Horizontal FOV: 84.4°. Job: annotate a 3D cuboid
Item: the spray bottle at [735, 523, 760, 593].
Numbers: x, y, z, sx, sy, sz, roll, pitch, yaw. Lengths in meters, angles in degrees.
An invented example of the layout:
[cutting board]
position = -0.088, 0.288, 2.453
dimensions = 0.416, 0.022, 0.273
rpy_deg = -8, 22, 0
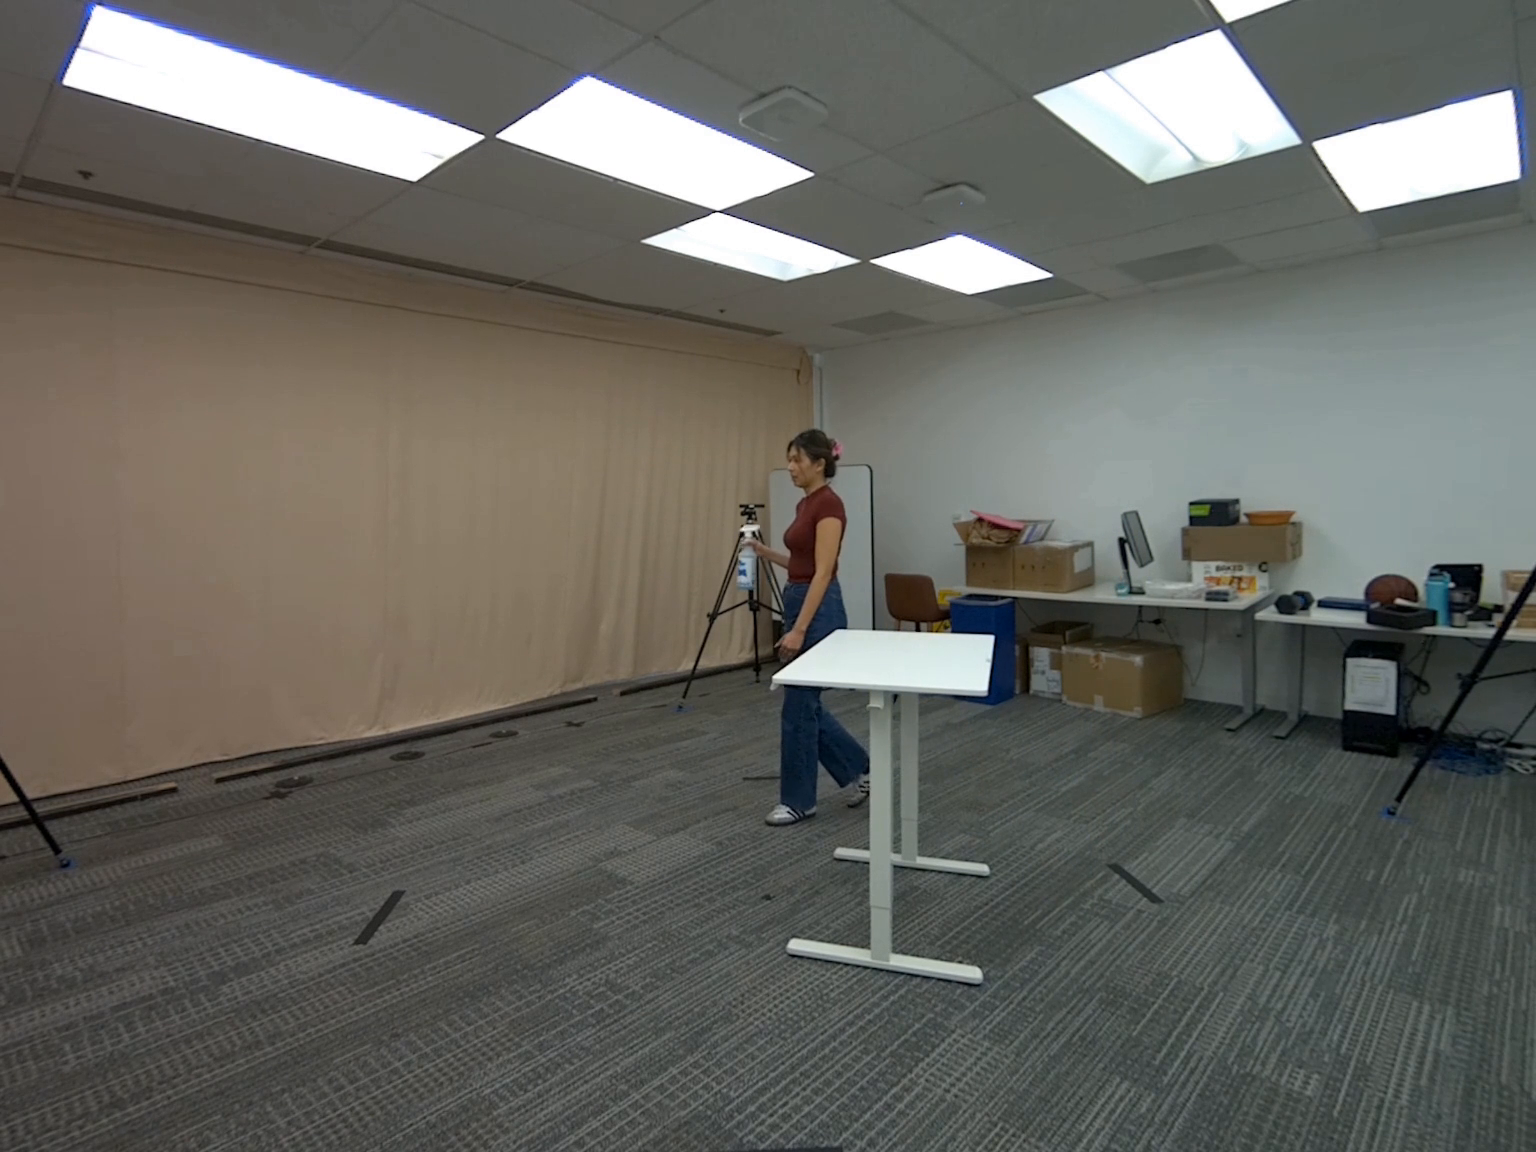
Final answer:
[spray bottle]
position = -0.086, -0.084, 3.876
dimensions = 0.091, 0.297, 0.086
rpy_deg = 4, 3, 12
